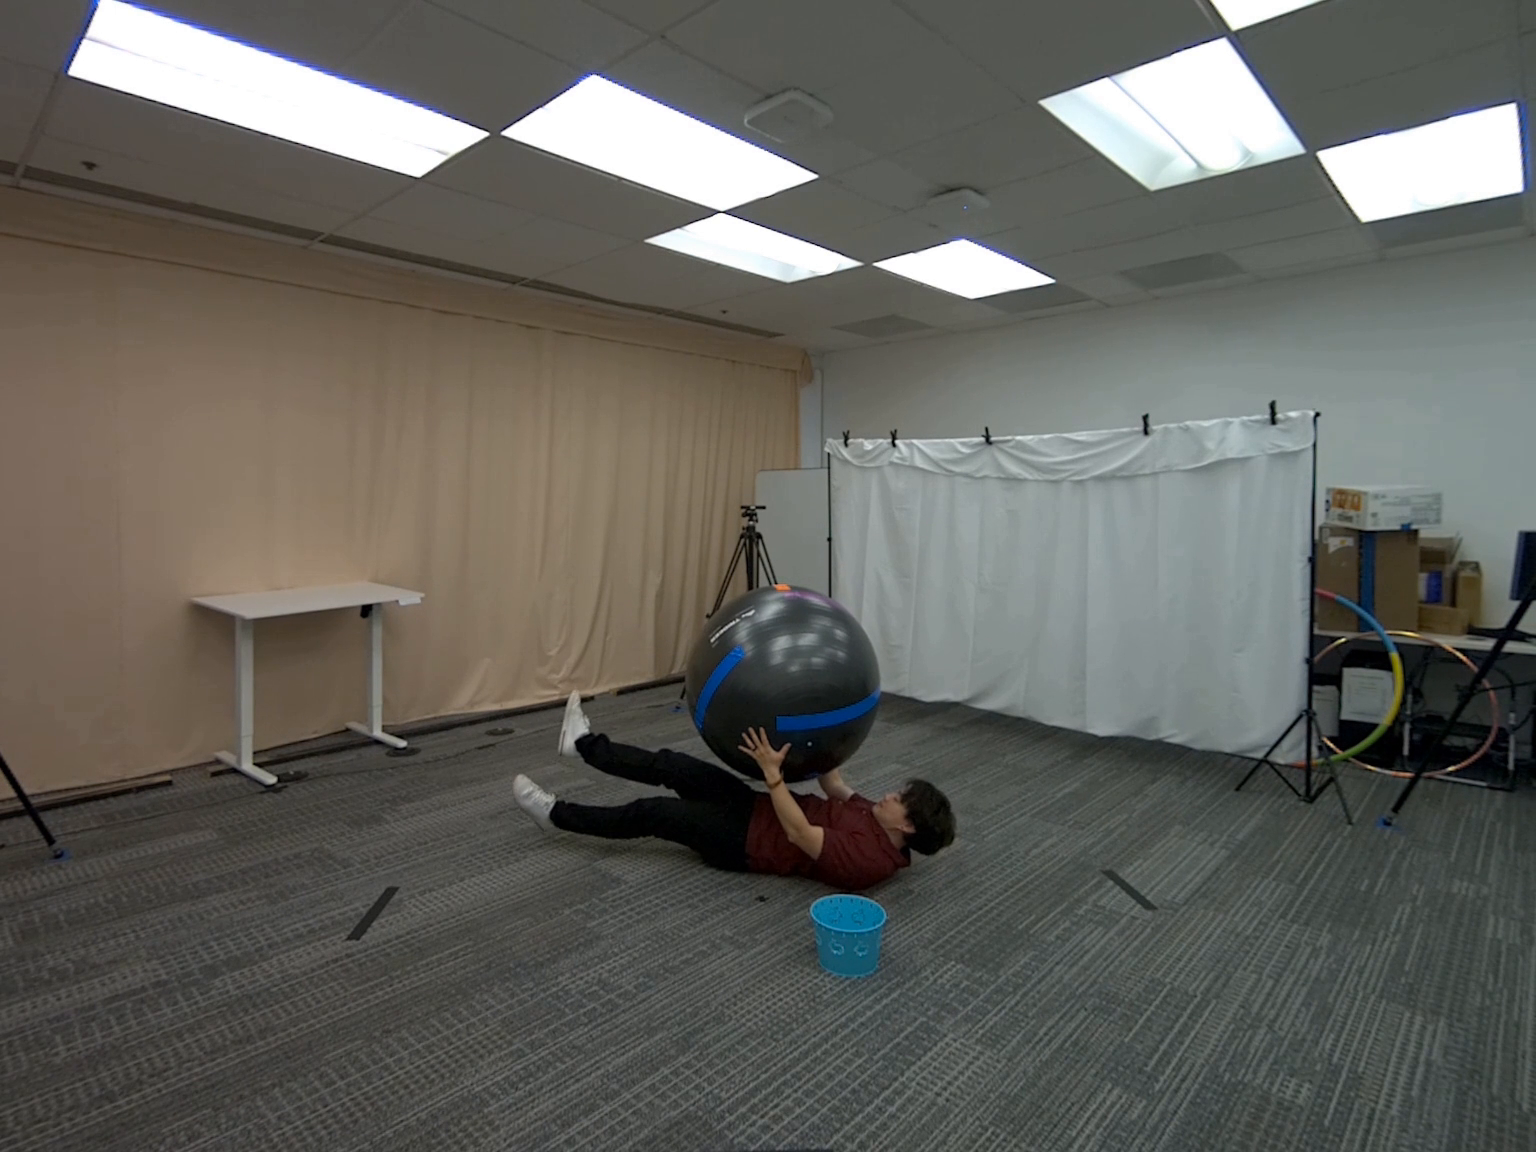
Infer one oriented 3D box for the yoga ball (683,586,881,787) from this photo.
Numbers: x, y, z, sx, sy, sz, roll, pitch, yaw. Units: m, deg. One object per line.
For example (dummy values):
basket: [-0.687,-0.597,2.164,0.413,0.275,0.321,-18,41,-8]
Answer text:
yoga ball: [0.055,0.417,3.294,0.757,0.756,0.760,0,4,-2]
